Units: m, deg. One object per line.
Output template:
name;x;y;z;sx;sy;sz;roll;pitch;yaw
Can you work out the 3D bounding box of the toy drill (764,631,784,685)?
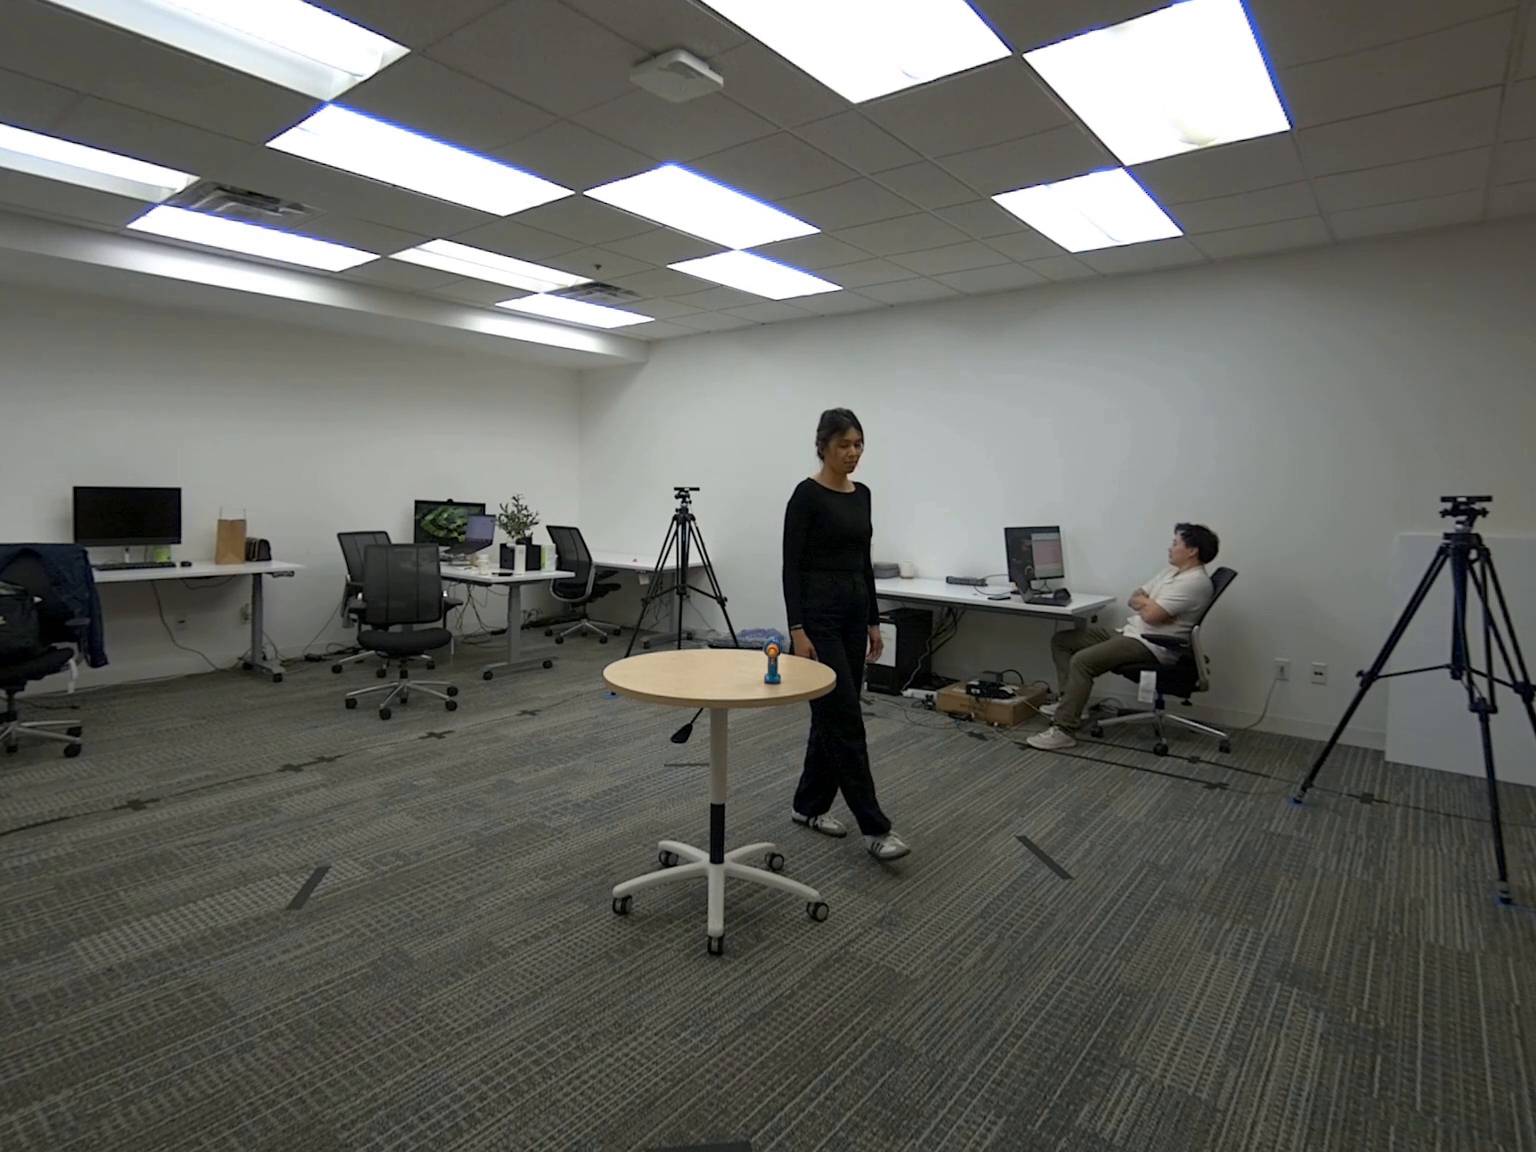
toy drill;0.007;0.263;2.619;0.061;0.145;0.170;-2;4;-1
